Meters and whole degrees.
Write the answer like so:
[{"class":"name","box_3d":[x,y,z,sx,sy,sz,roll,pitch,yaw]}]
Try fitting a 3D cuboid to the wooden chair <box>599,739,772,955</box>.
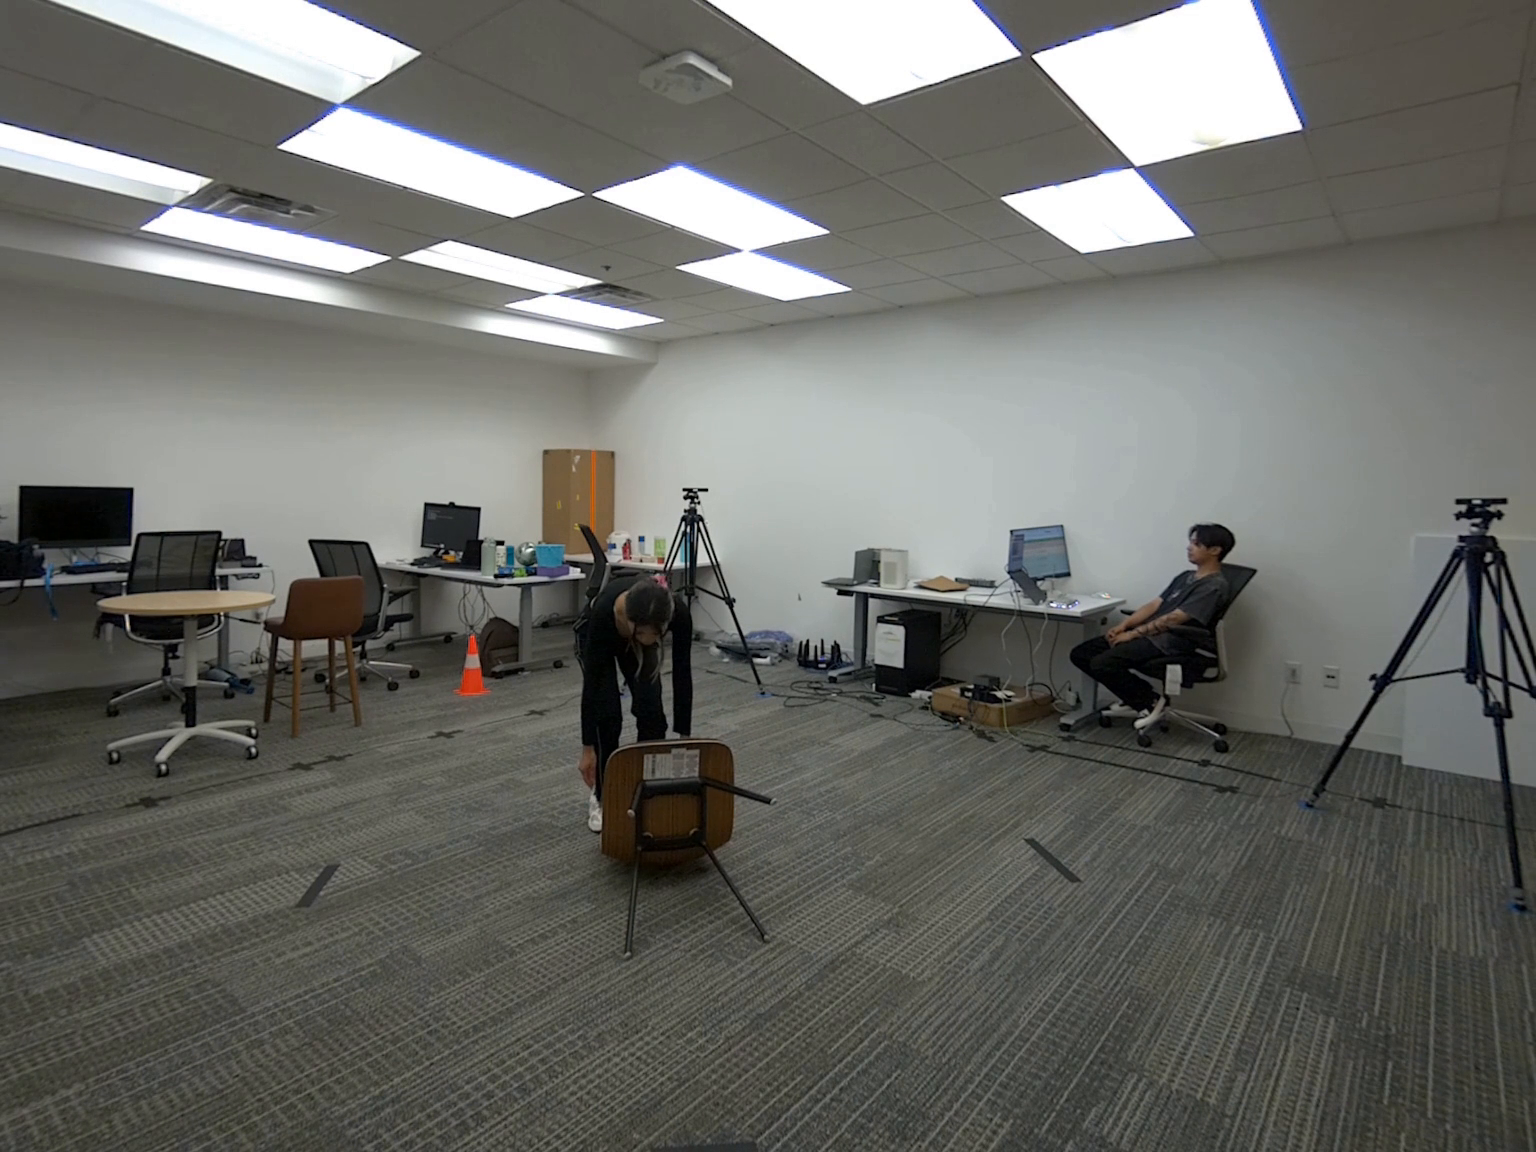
[{"class":"wooden chair","box_3d":[-0.338,0.825,2.943,0.470,0.522,0.895,0,4,-18]}]
